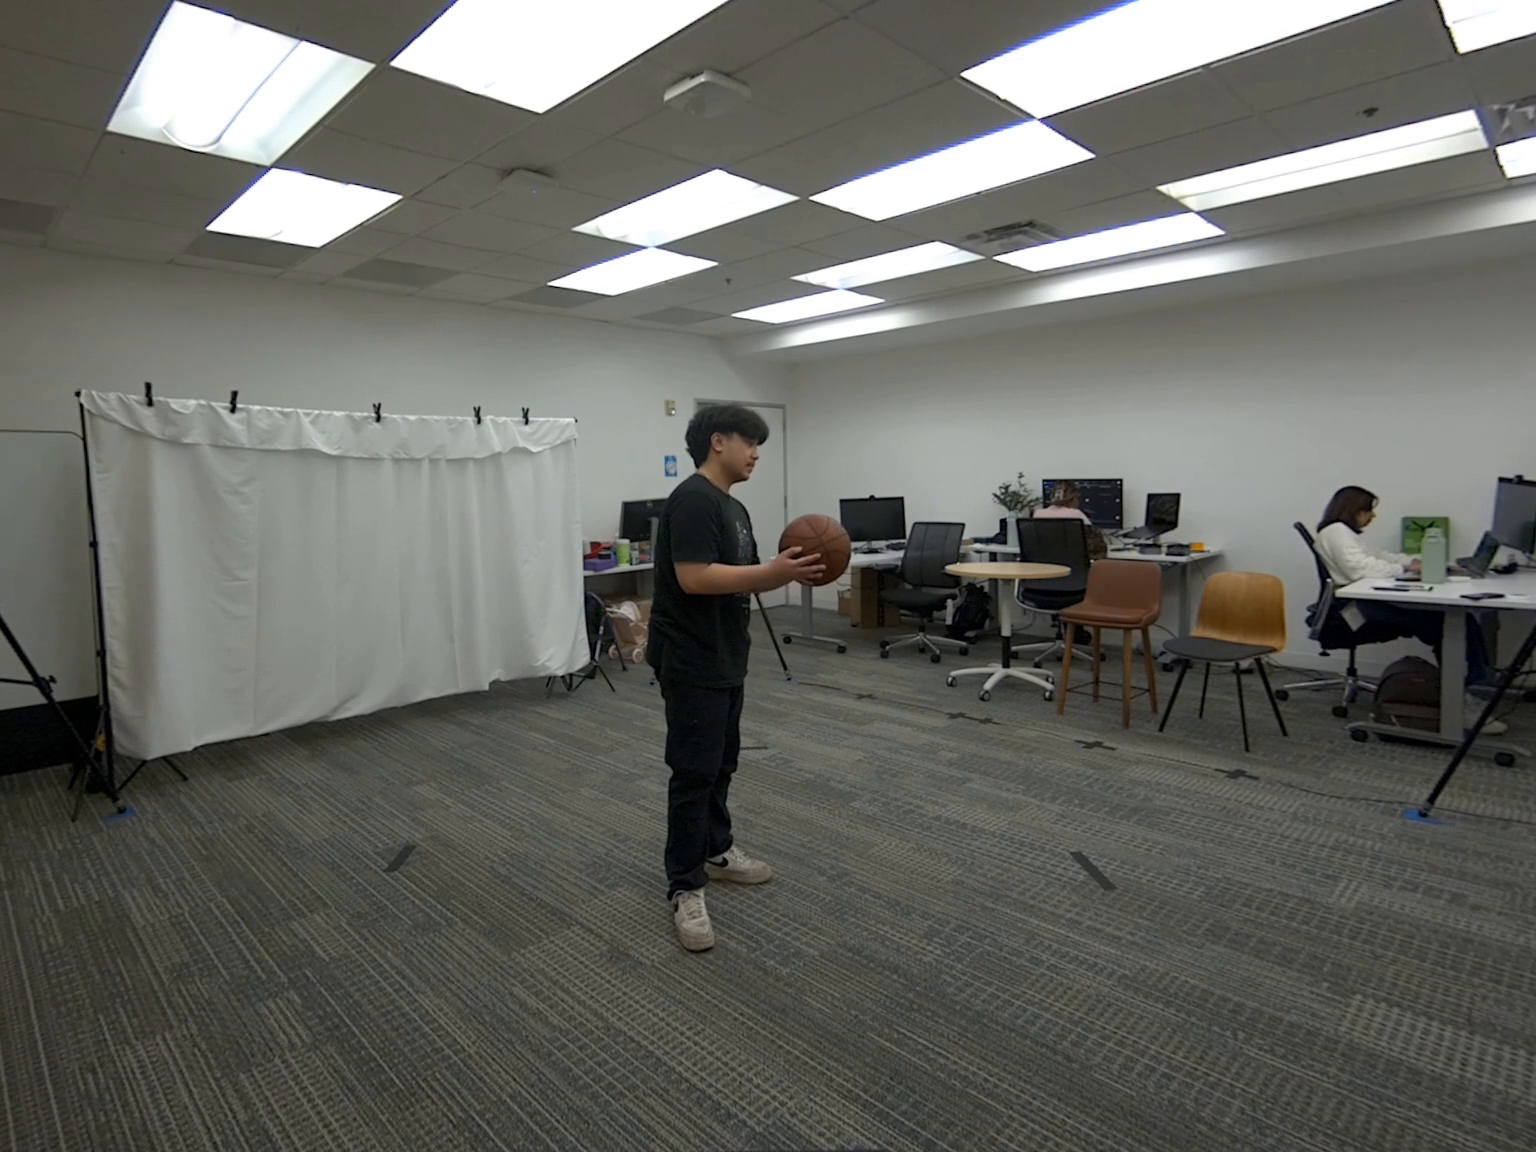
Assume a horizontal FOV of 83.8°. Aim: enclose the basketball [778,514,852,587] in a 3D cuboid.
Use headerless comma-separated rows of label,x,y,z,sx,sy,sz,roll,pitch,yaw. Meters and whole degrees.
basketball,0.151,-0.085,2.782,0.236,0.235,0.237,-1,5,-2
